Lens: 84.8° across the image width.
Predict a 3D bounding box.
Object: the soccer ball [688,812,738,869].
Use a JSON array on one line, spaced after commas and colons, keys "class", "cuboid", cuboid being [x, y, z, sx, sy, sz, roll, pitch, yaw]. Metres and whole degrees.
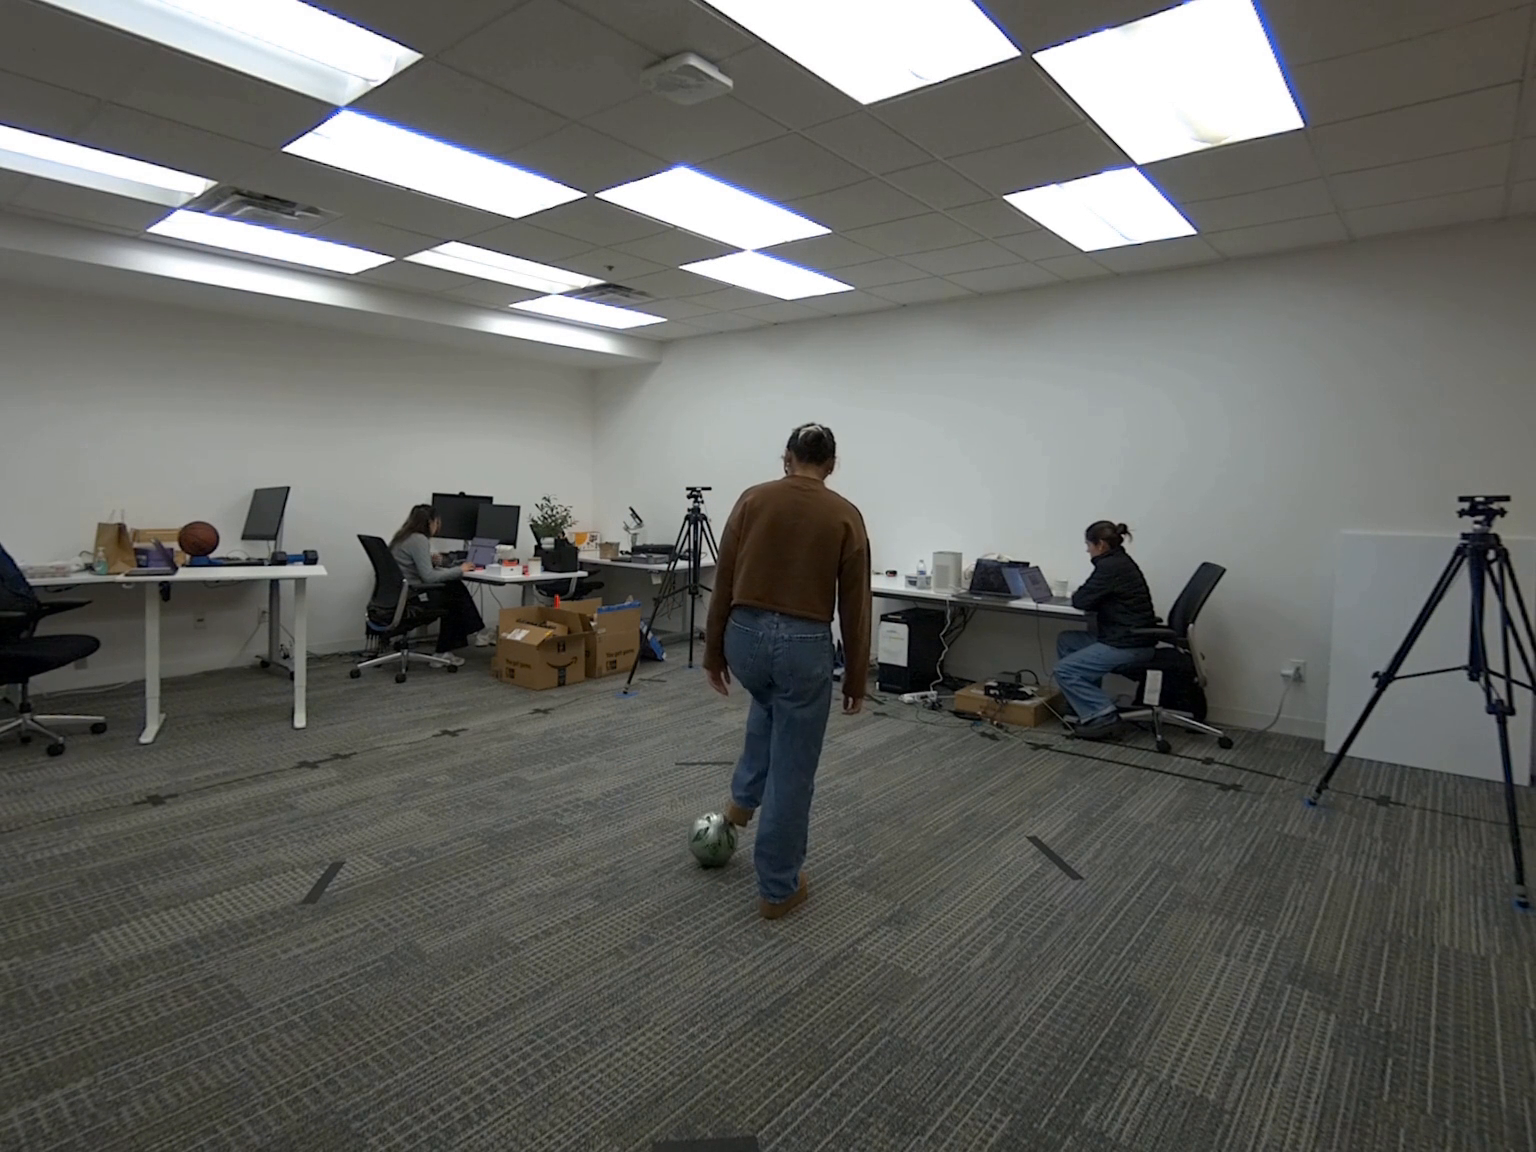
[{"class": "soccer ball", "cuboid": [-0.217, 0.967, 3.160, 0.187, 0.187, 0.188, 1, 4, -2]}]
